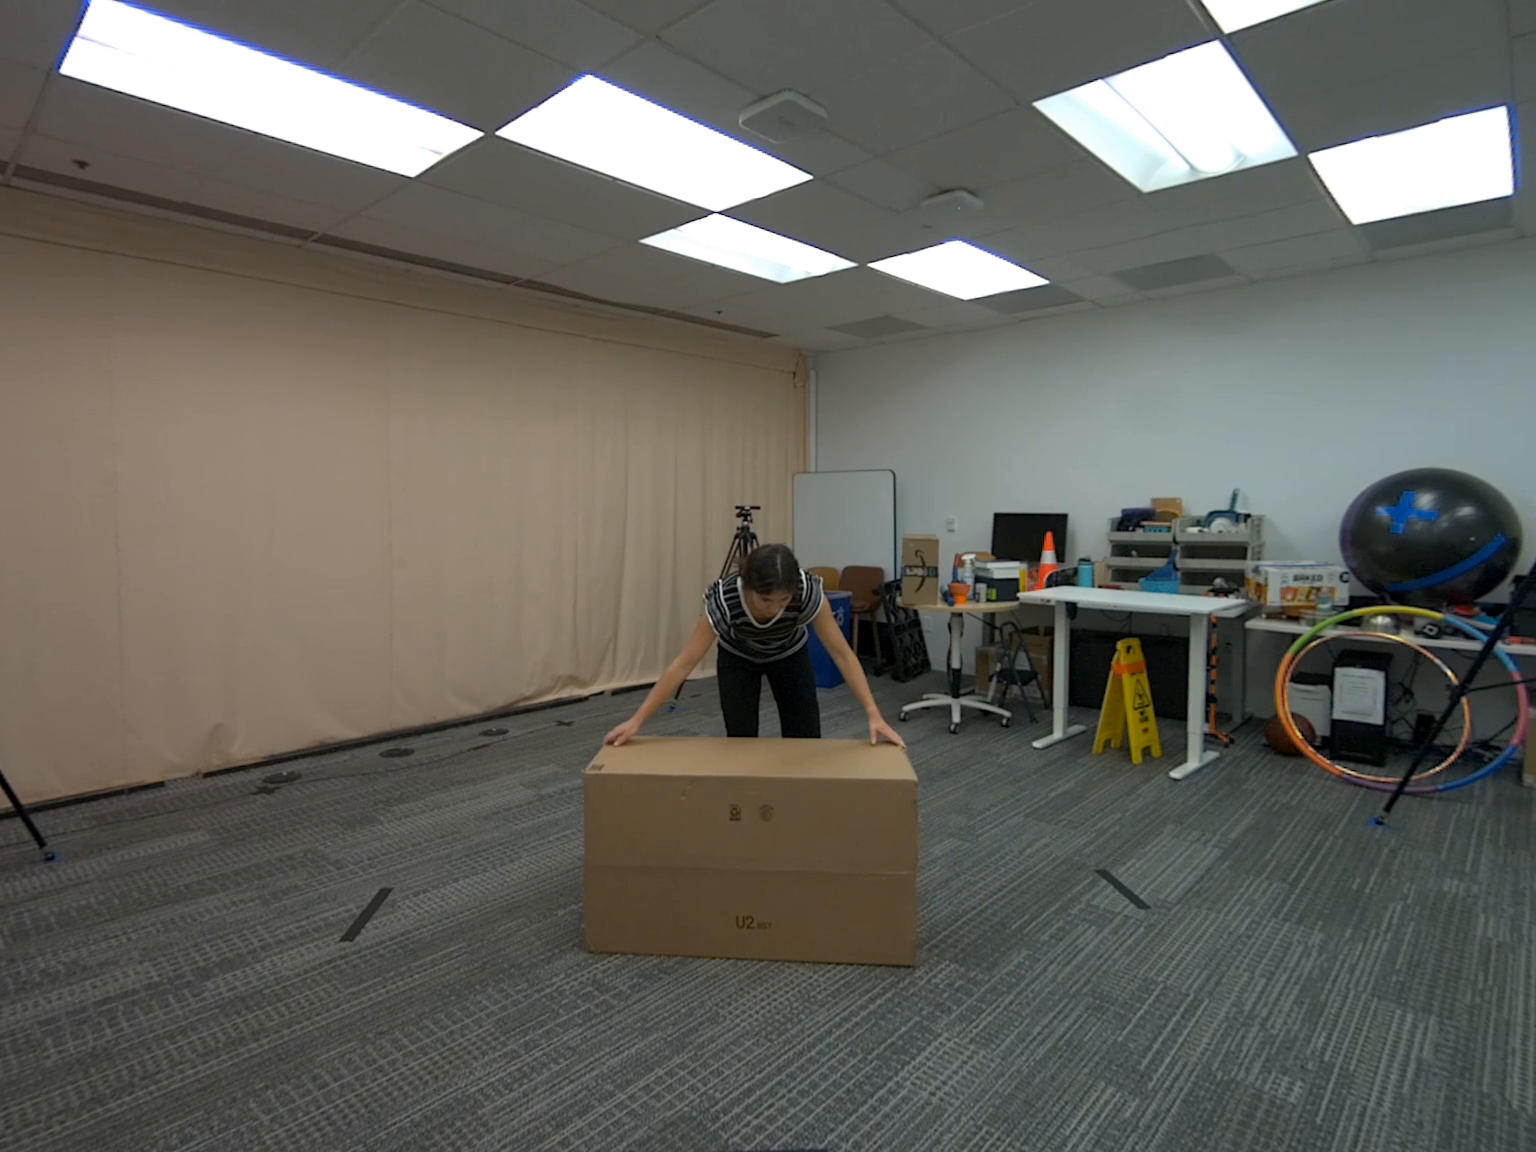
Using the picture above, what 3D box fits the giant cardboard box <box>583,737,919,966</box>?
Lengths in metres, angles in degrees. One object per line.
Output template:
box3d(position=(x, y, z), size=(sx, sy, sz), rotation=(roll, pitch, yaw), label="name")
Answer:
box3d(position=(-0.053, 0.870, 2.773), size=(1.032, 0.576, 0.424), rotation=(0, 3, 5), label="giant cardboard box")
